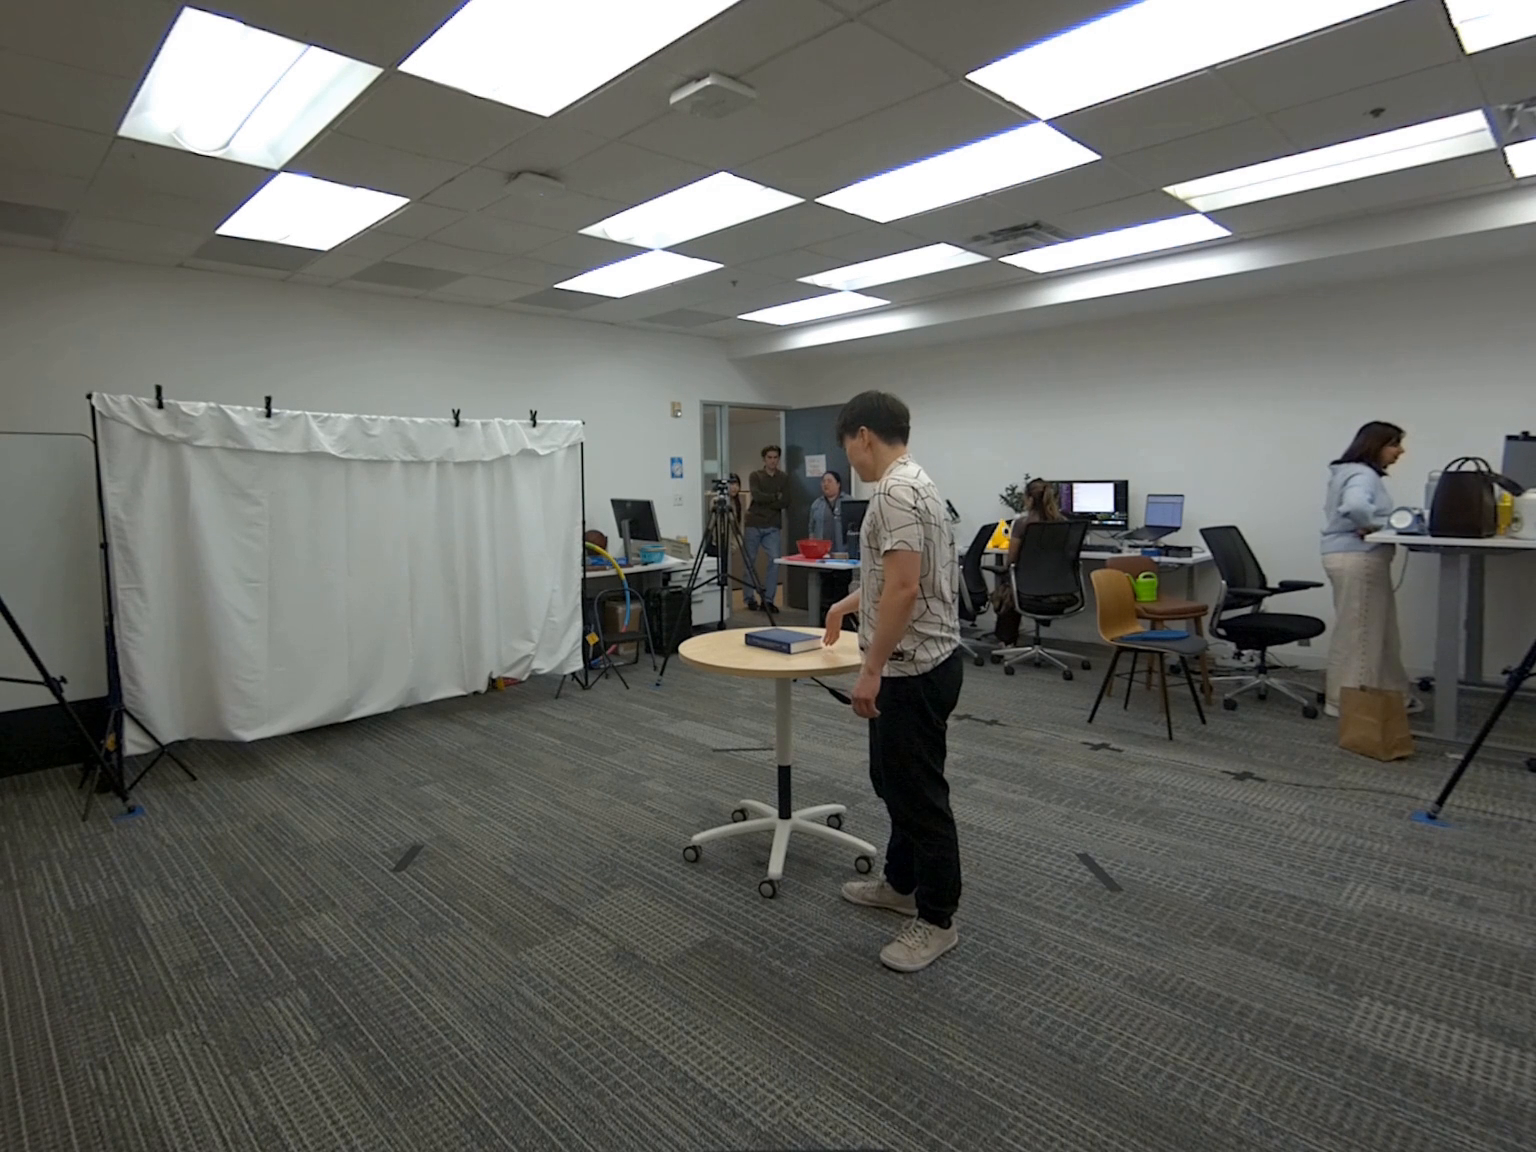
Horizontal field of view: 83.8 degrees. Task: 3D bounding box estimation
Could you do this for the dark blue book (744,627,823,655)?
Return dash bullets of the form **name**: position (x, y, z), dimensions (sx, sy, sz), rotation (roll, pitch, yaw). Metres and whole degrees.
- **dark blue book**: position (0.059, 0.242, 3.127), dimensions (0.159, 0.045, 0.253), rotation (-6, 9, -40)
